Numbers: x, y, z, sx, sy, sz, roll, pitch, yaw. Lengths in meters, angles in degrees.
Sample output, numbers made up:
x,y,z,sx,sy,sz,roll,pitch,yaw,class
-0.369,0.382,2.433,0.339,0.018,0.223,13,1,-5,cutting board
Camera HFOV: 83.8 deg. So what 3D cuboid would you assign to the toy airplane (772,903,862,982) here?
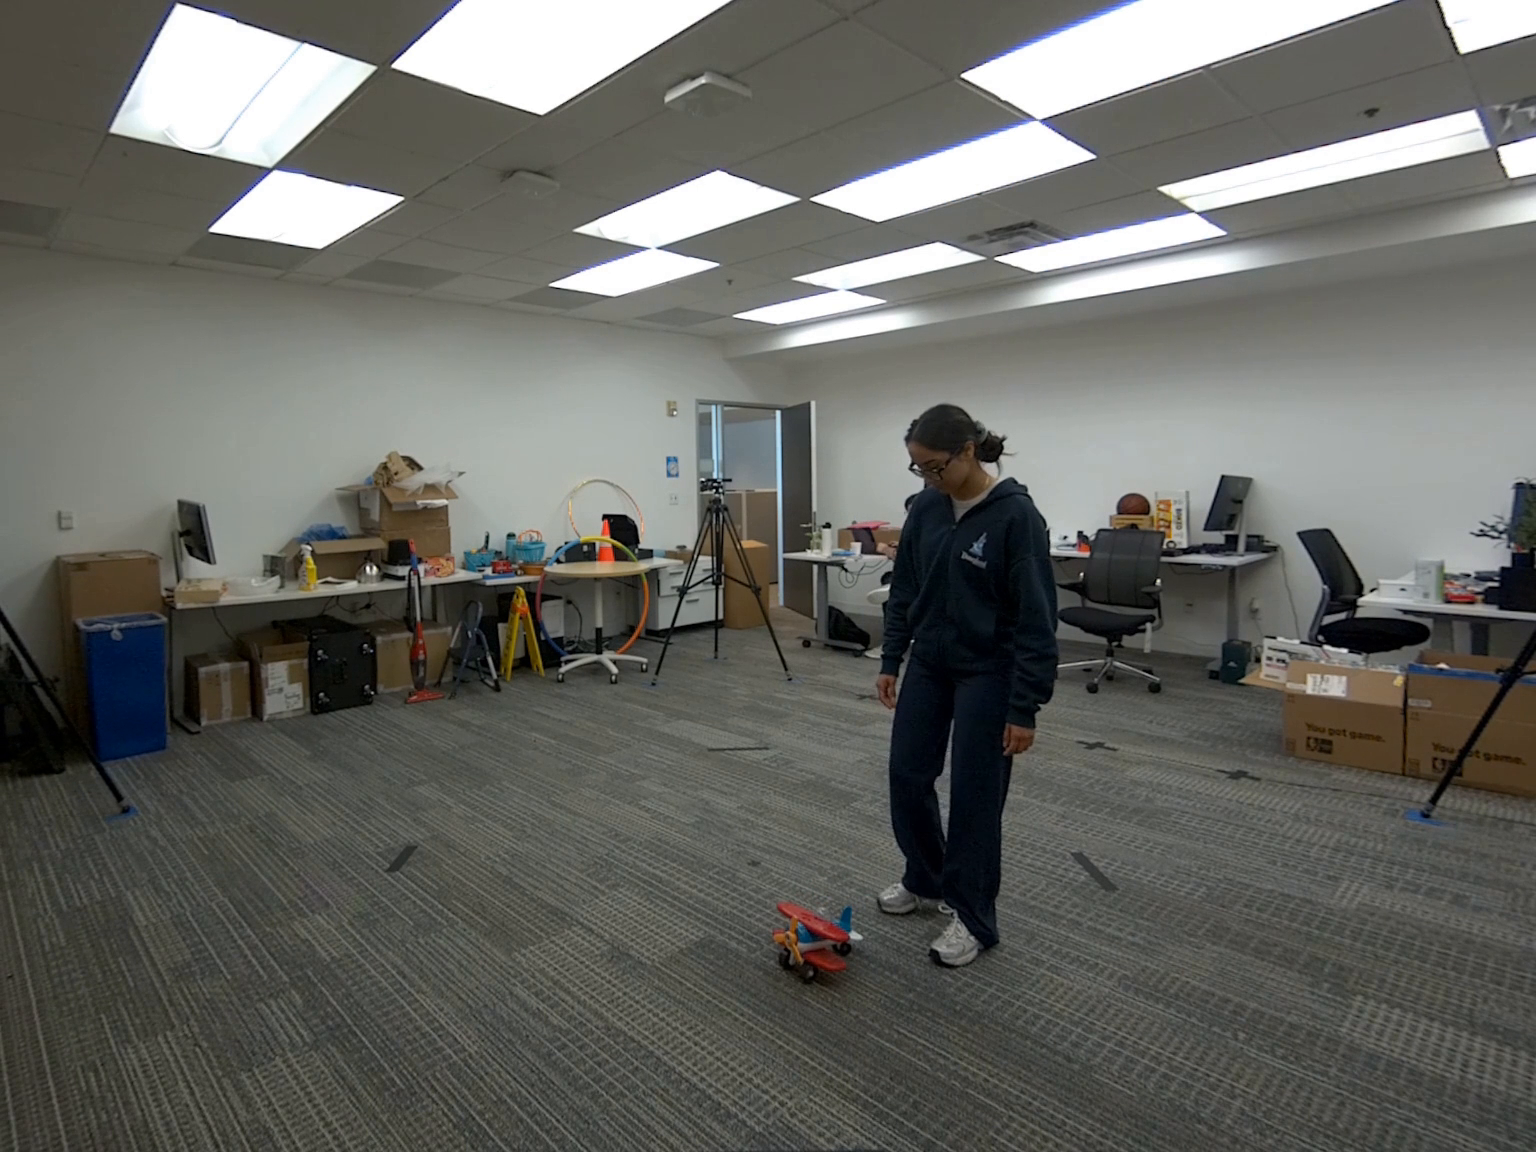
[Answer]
x,y,z,sx,sy,sz,roll,pitch,yaw,class
0.140,1.038,2.472,0.256,0.155,0.255,1,8,21,toy airplane
